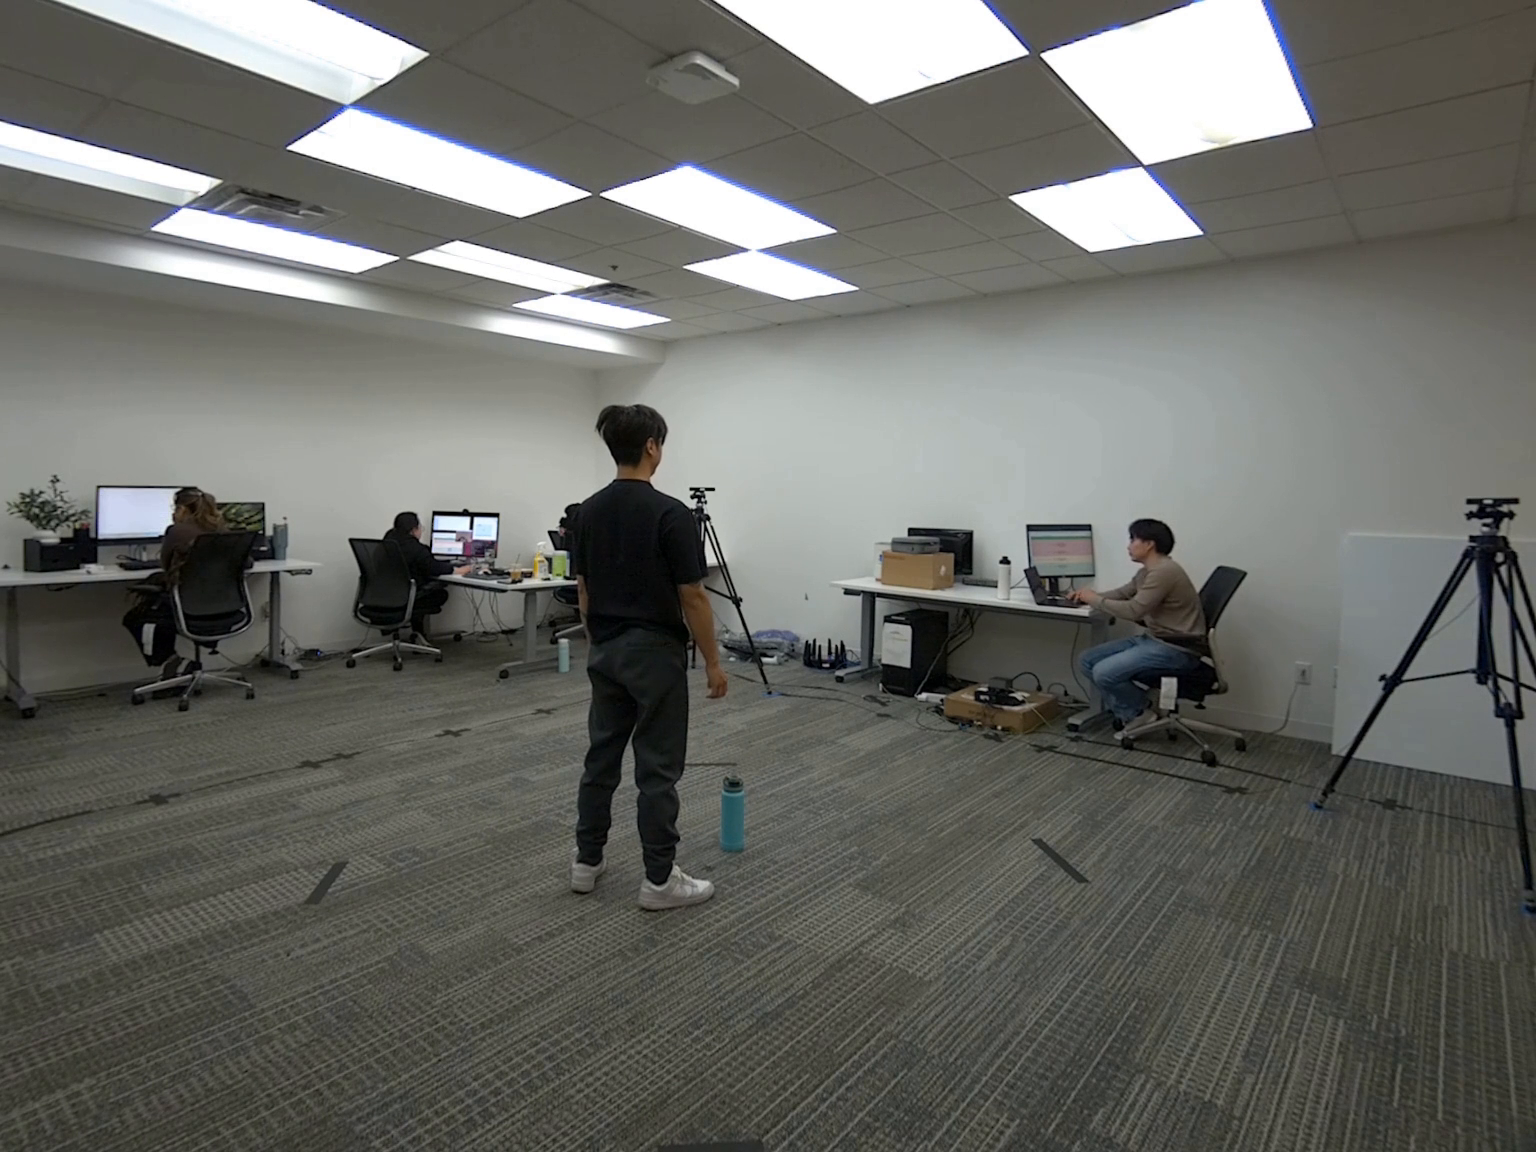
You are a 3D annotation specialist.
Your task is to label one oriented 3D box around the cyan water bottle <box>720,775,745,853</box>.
[{"bbox_3d":[-0.145,0.908,3.296,0.092,0.283,0.092,1,2,-2],"label":"cyan water bottle"}]
